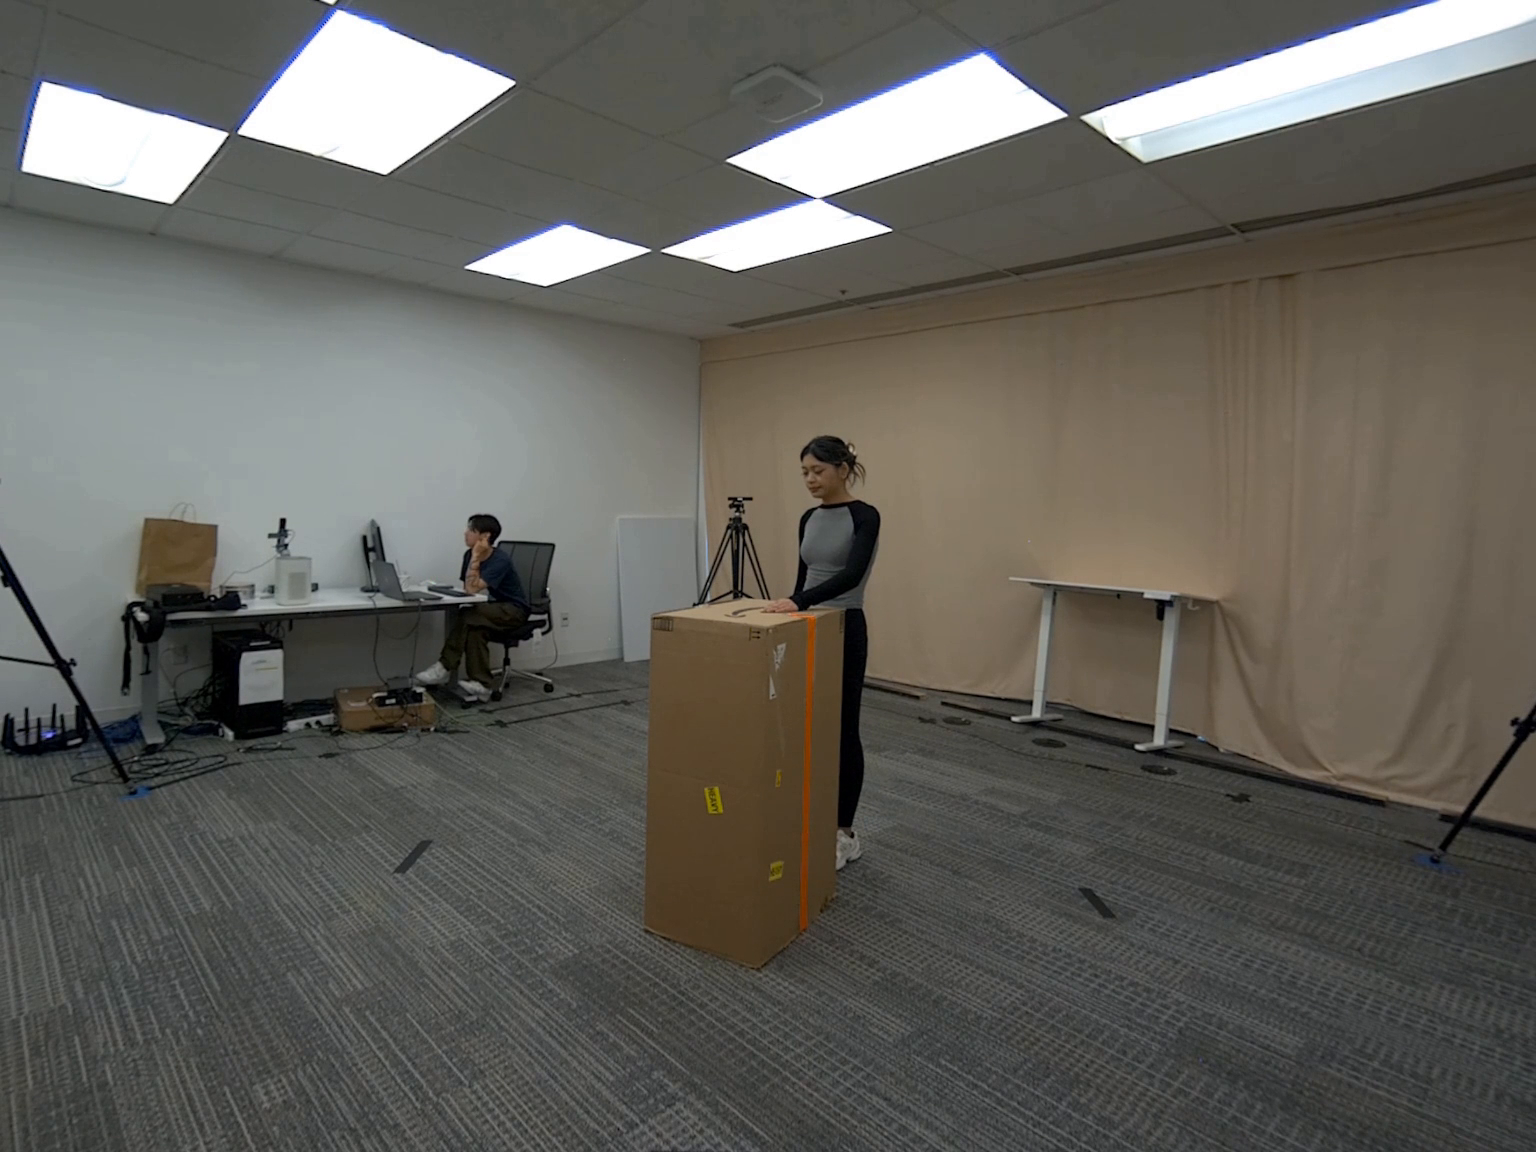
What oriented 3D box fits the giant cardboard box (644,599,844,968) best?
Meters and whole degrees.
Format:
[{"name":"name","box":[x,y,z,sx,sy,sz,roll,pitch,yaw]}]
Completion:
[{"name":"giant cardboard box","box":[-0.070,0.632,2.803,0.456,1.025,0.573,2,3,29]}]
